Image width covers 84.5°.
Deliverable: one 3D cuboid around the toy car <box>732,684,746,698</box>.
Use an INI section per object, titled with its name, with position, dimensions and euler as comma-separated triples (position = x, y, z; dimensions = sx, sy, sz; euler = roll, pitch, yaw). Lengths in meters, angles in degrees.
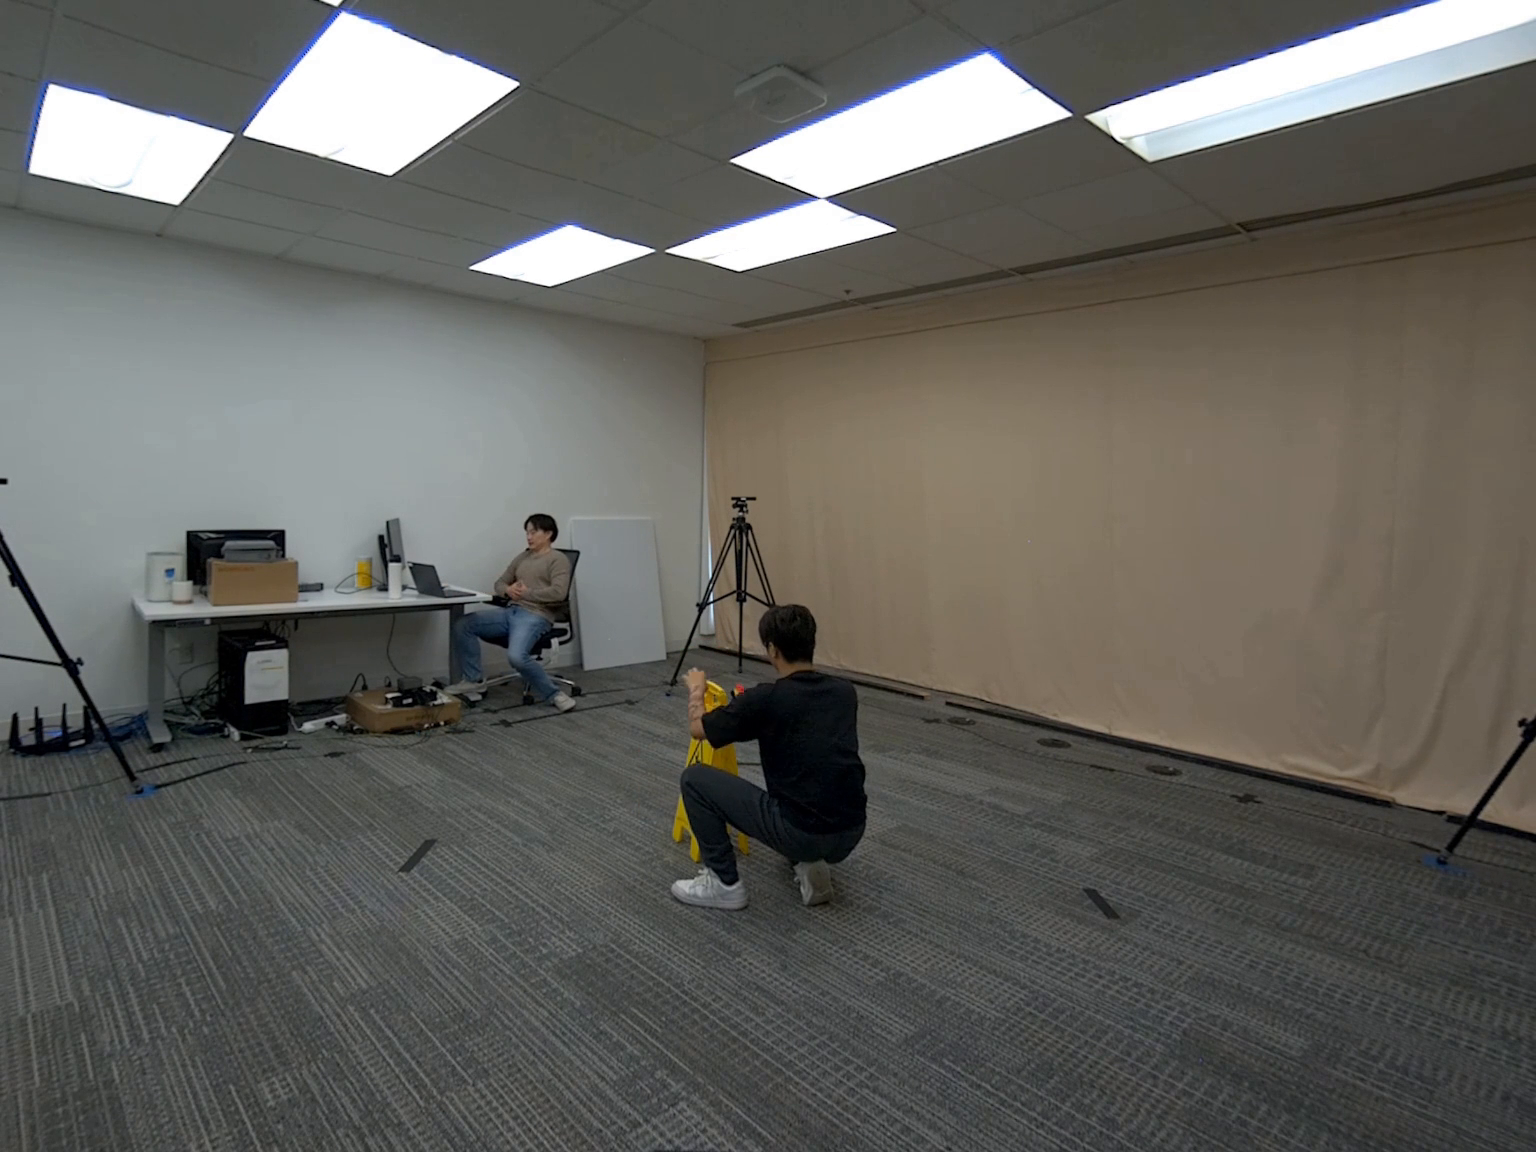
[toy car]
position = -0.086, 0.580, 3.452
dimensions = 0.083, 0.251, 0.132
euler = -33, 12, -13
